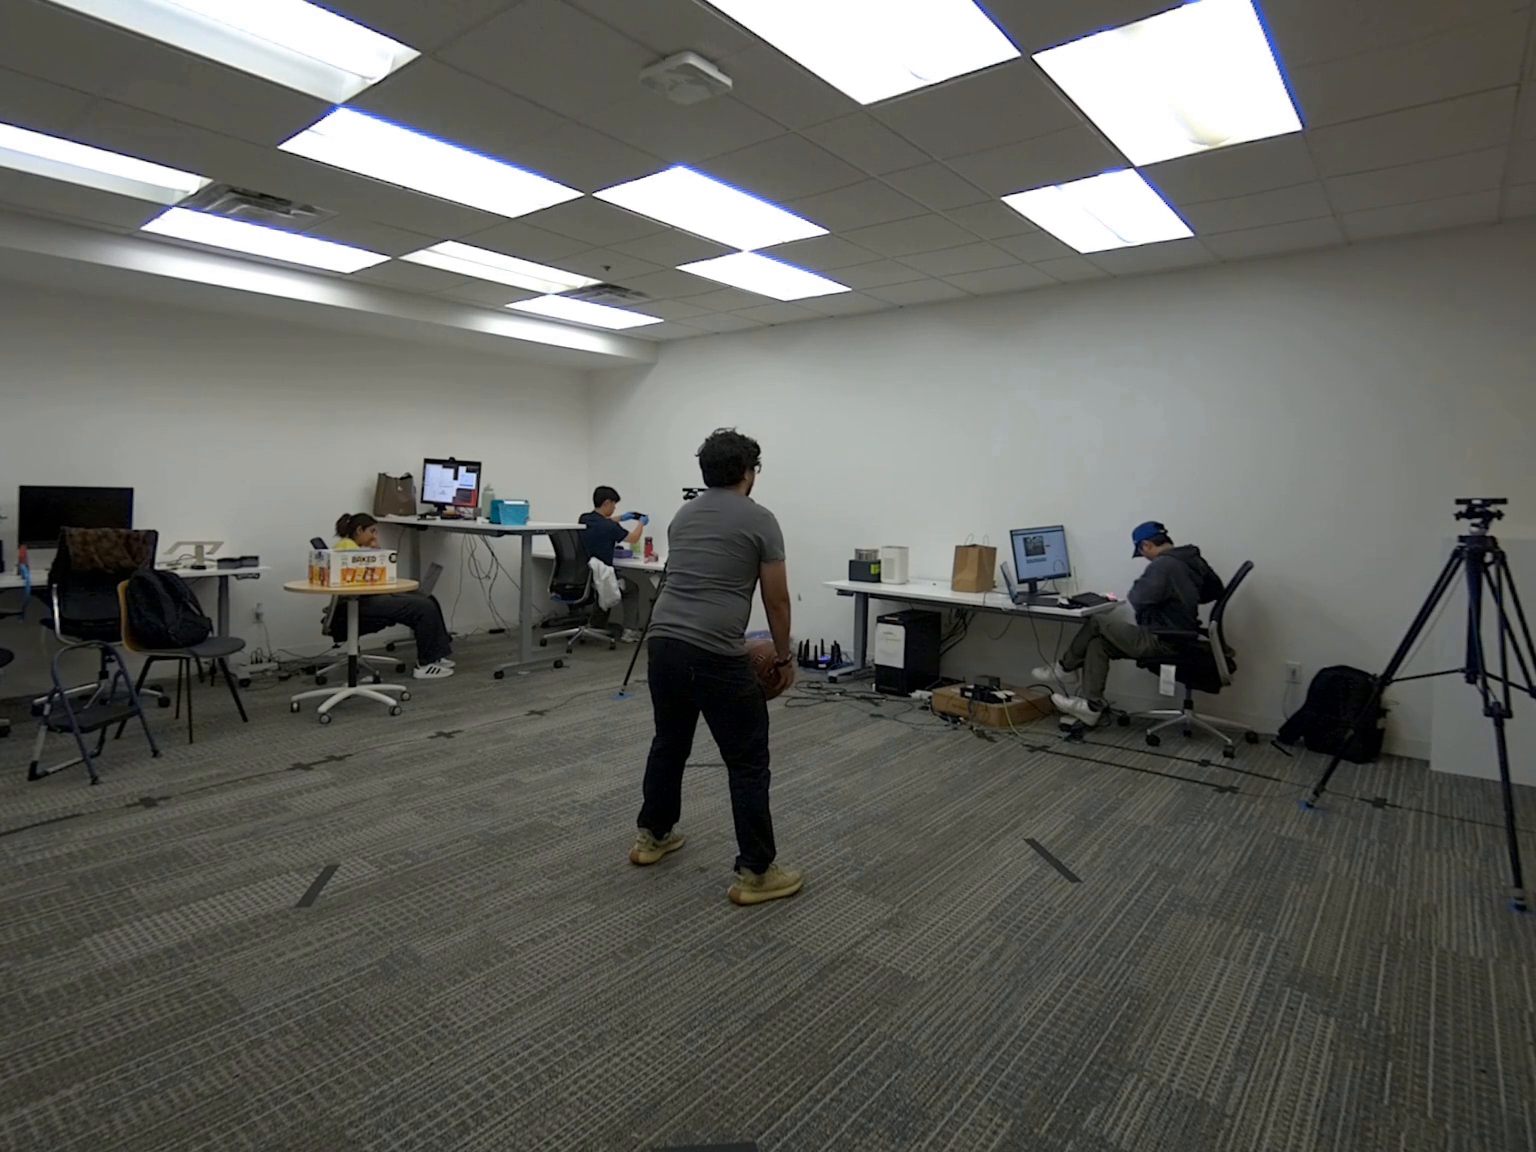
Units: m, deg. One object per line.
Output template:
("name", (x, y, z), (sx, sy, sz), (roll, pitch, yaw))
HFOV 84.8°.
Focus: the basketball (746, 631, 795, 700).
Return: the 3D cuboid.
("basketball", (-0.030, 0.356, 3.282), (0.235, 0.235, 0.237), (1, 4, -2))
